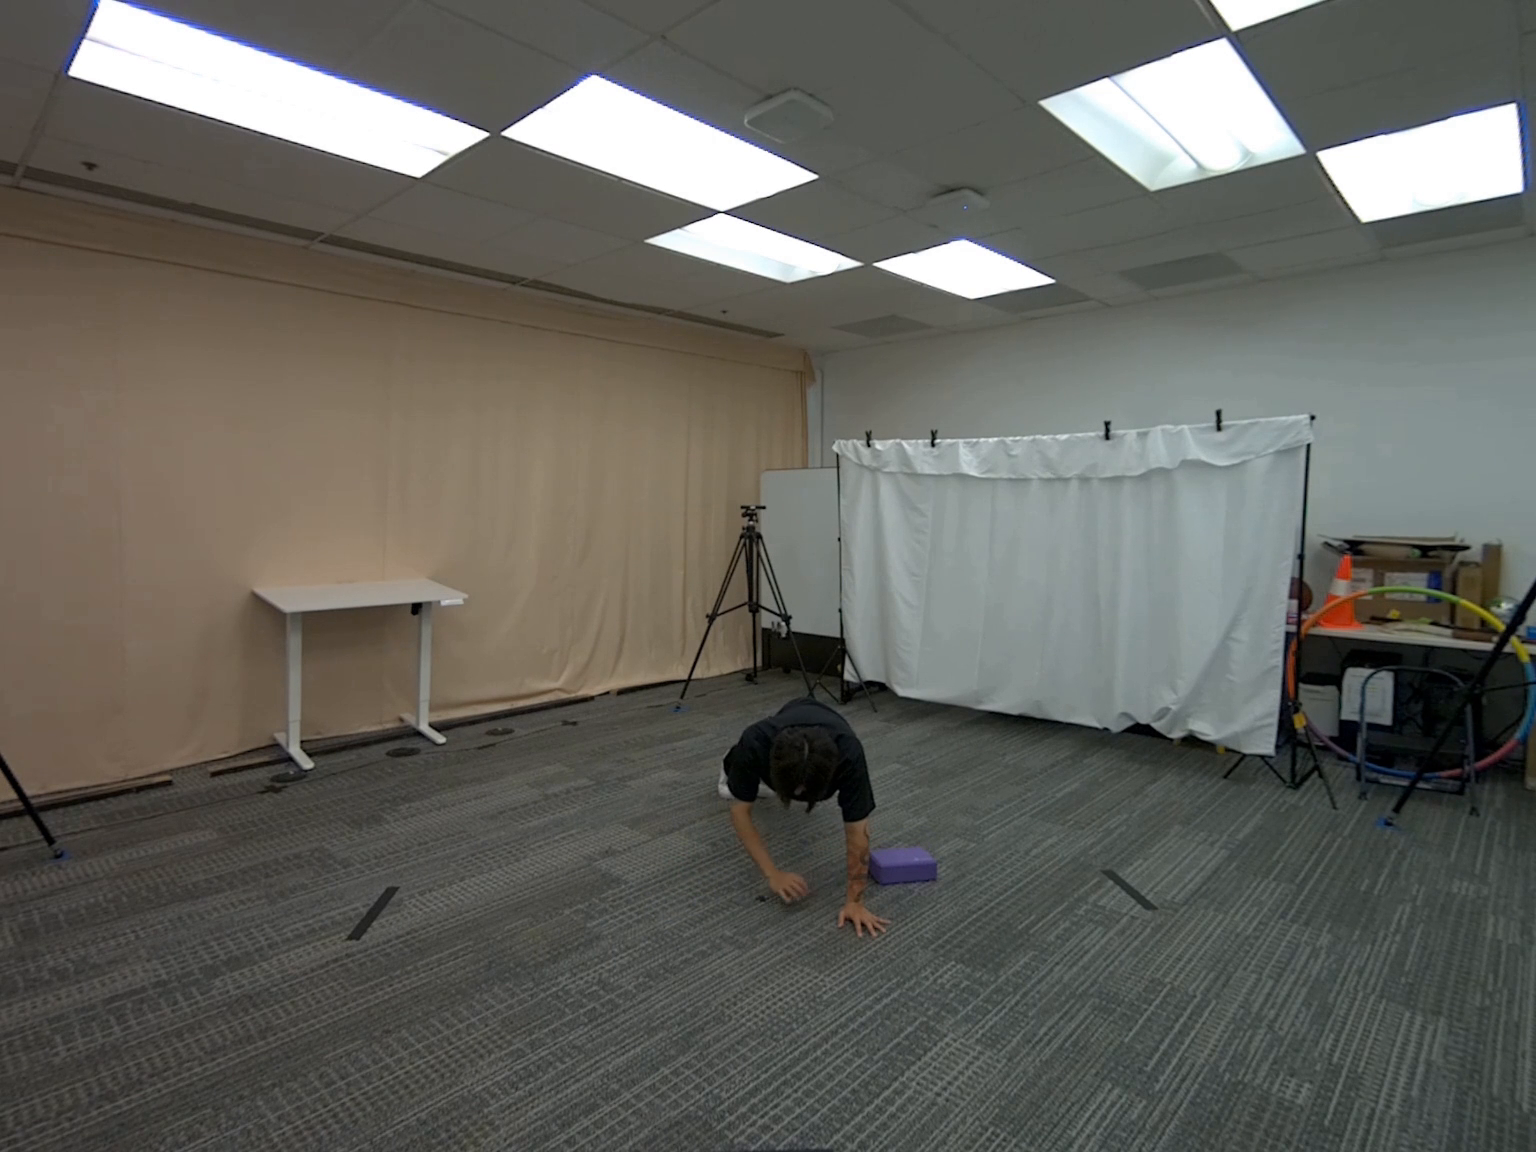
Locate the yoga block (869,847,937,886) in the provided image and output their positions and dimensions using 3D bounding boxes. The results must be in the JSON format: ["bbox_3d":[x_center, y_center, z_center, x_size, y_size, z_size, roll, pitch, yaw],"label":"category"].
[{"bbox_3d":[0.506,1.085,3.167,0.227,0.076,0.151,-2,4,-10],"label":"yoga block"}]
